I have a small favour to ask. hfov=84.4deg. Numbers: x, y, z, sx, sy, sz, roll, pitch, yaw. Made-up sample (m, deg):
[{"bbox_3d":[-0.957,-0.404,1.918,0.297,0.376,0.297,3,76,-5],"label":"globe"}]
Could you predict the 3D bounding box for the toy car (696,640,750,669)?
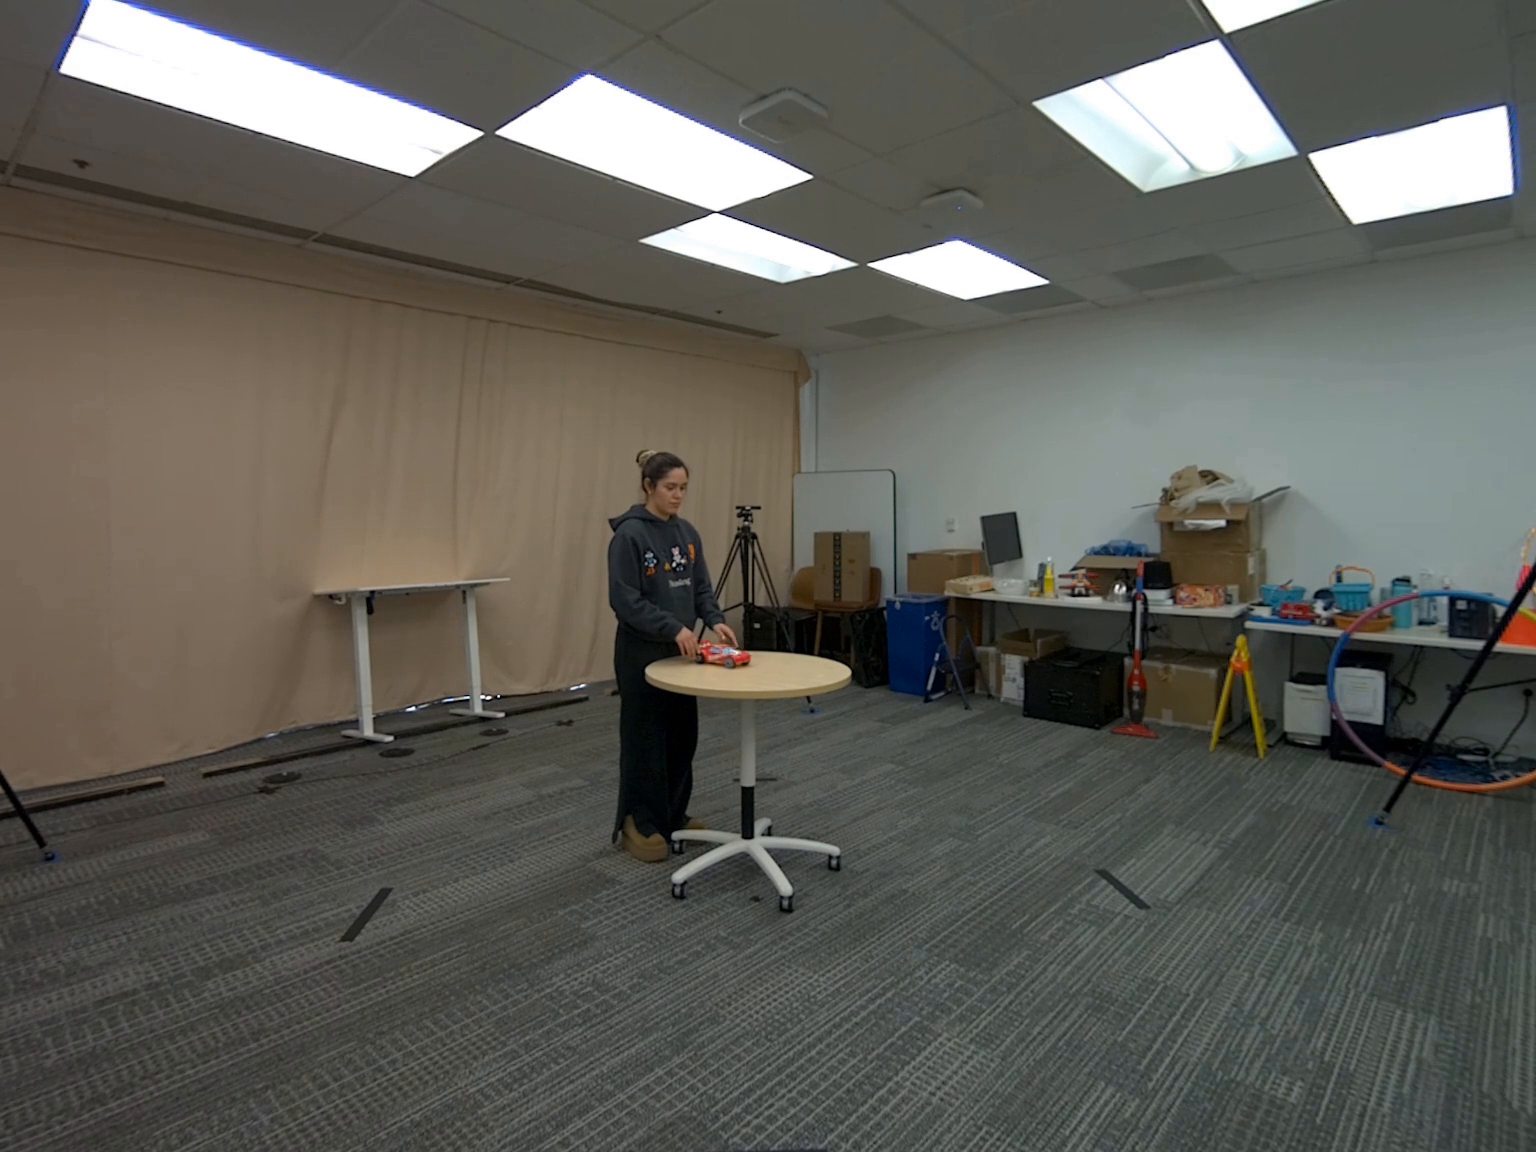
[{"bbox_3d":[-0.175,0.308,3.255,0.263,0.083,0.126,15,12,35],"label":"toy car"}]
